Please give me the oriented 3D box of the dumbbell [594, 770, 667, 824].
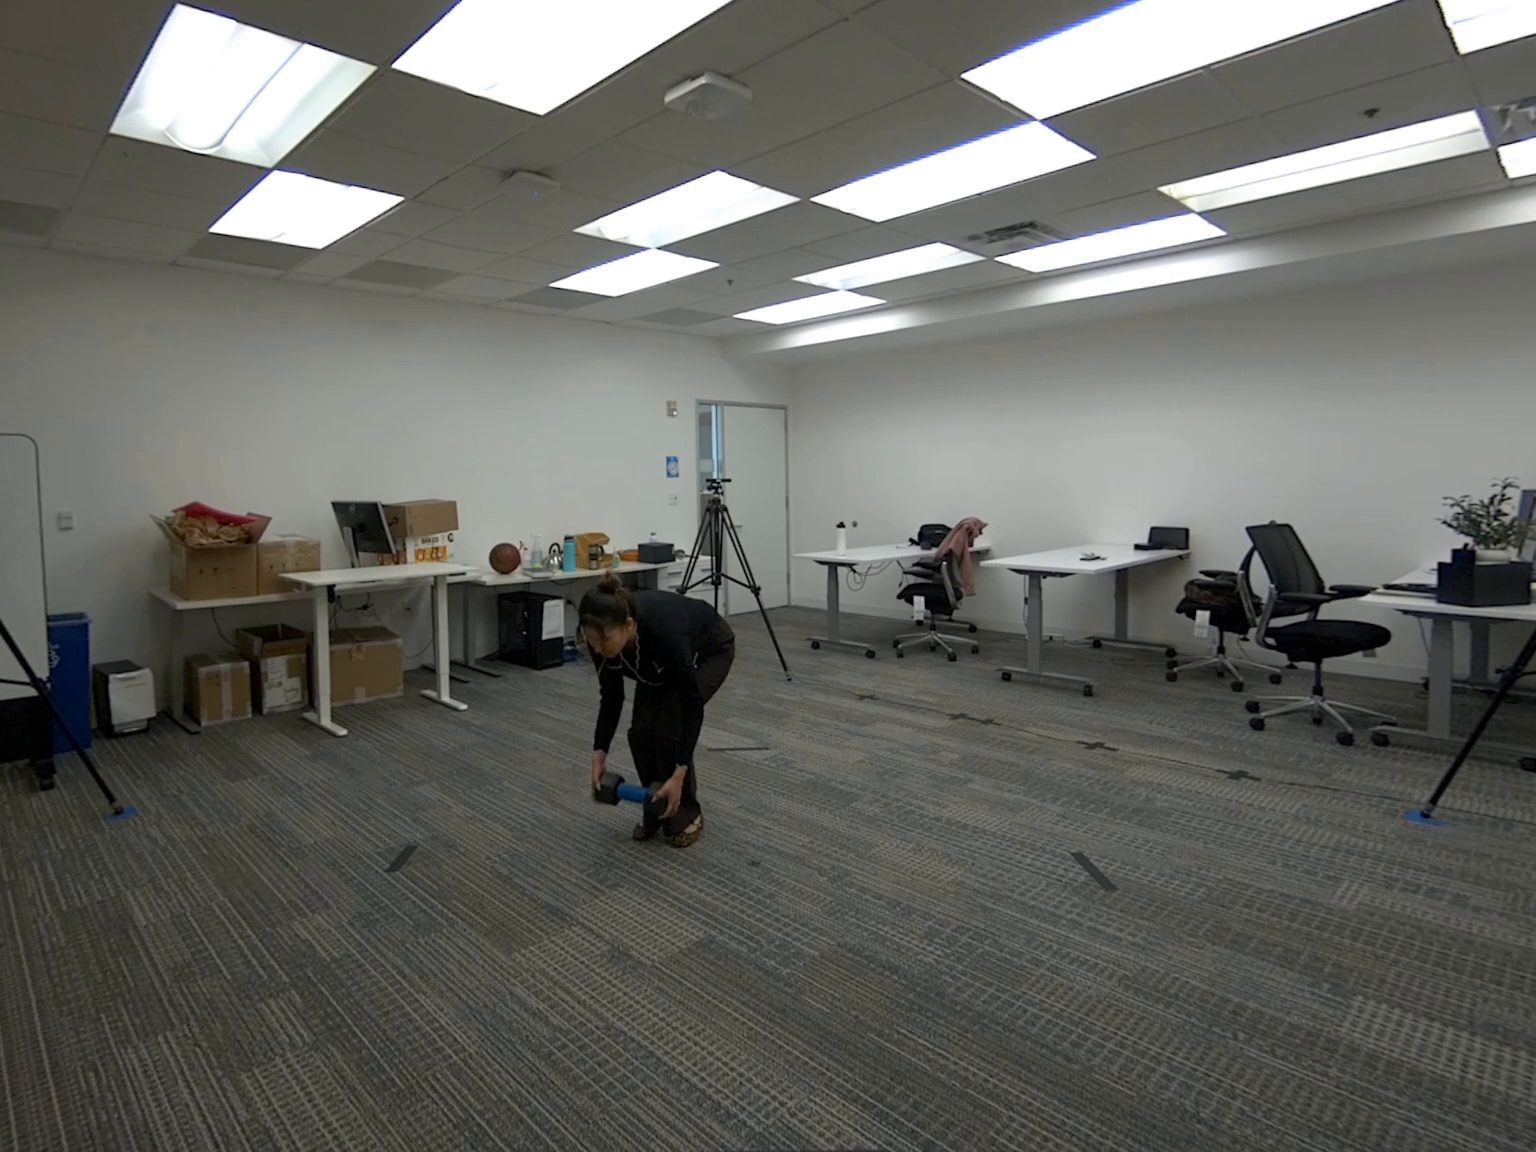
[{"bbox_3d":[-0.489,0.797,3.142,0.300,0.110,0.118,3,-28,21],"label":"dumbbell"}]
